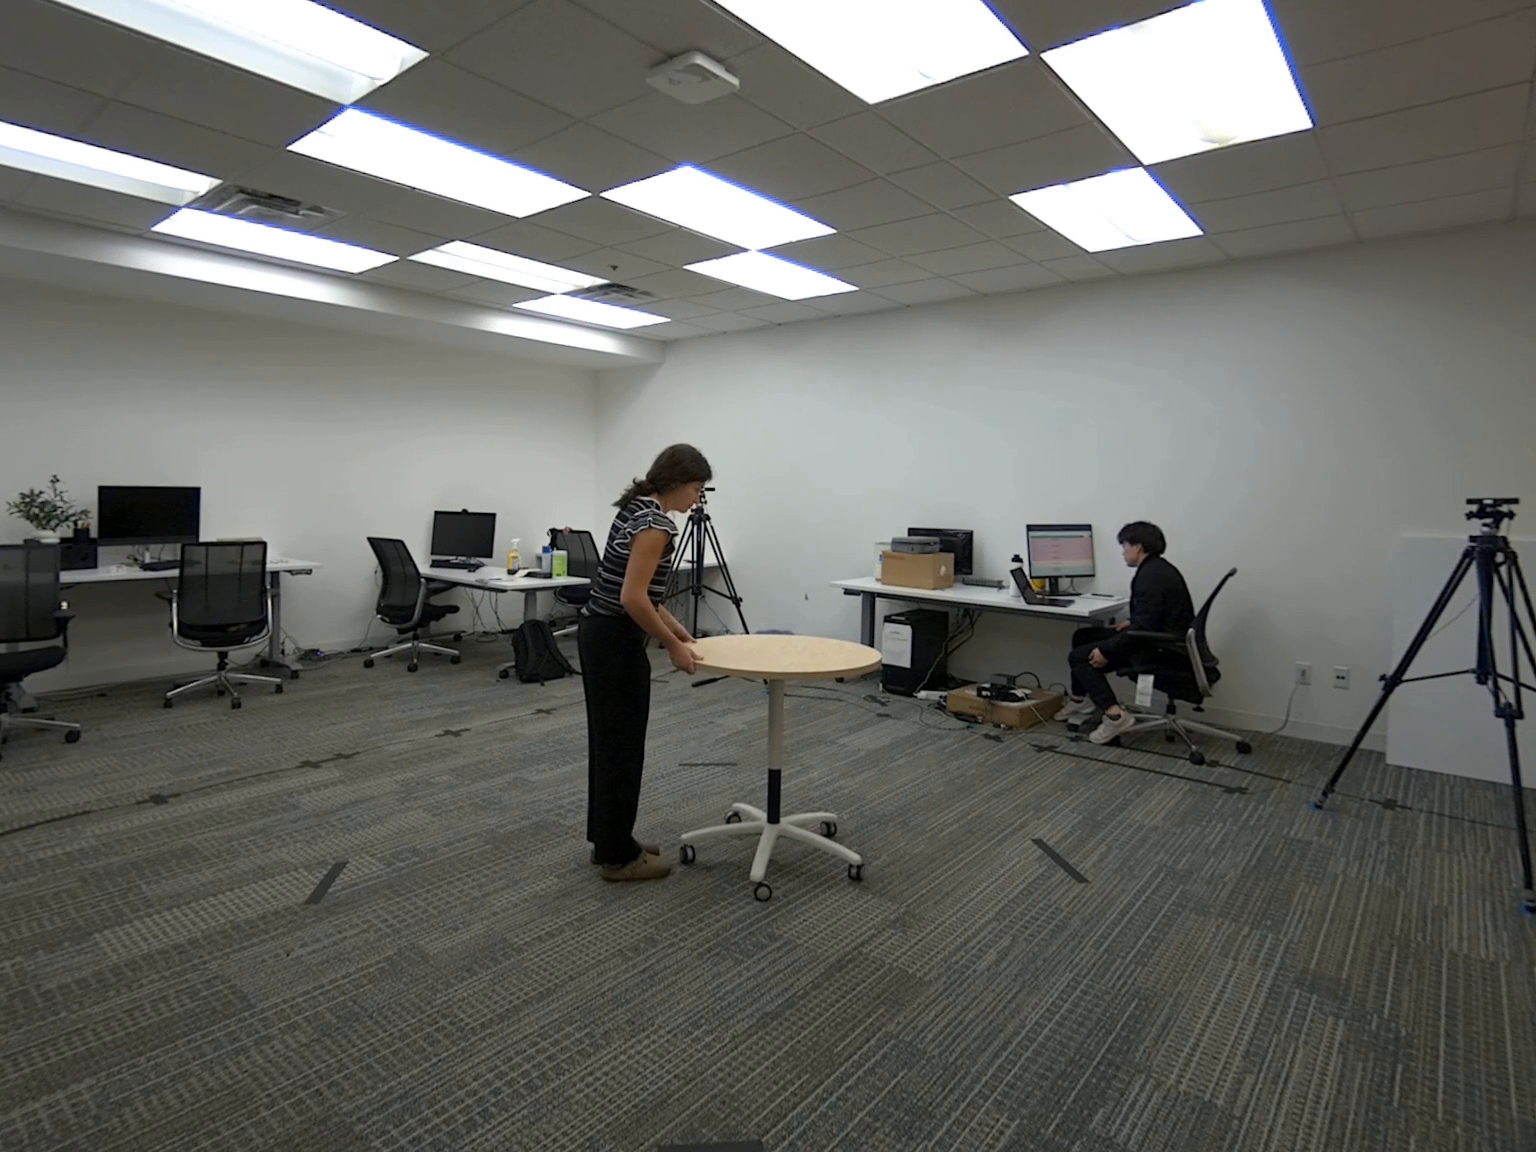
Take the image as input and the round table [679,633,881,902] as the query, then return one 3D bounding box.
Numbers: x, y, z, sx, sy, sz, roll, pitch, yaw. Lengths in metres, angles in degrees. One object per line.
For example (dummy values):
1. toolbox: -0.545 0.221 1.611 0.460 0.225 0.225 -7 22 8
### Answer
1. round table: 0.033 0.669 3.195 0.784 0.784 0.789 0 4 -2
